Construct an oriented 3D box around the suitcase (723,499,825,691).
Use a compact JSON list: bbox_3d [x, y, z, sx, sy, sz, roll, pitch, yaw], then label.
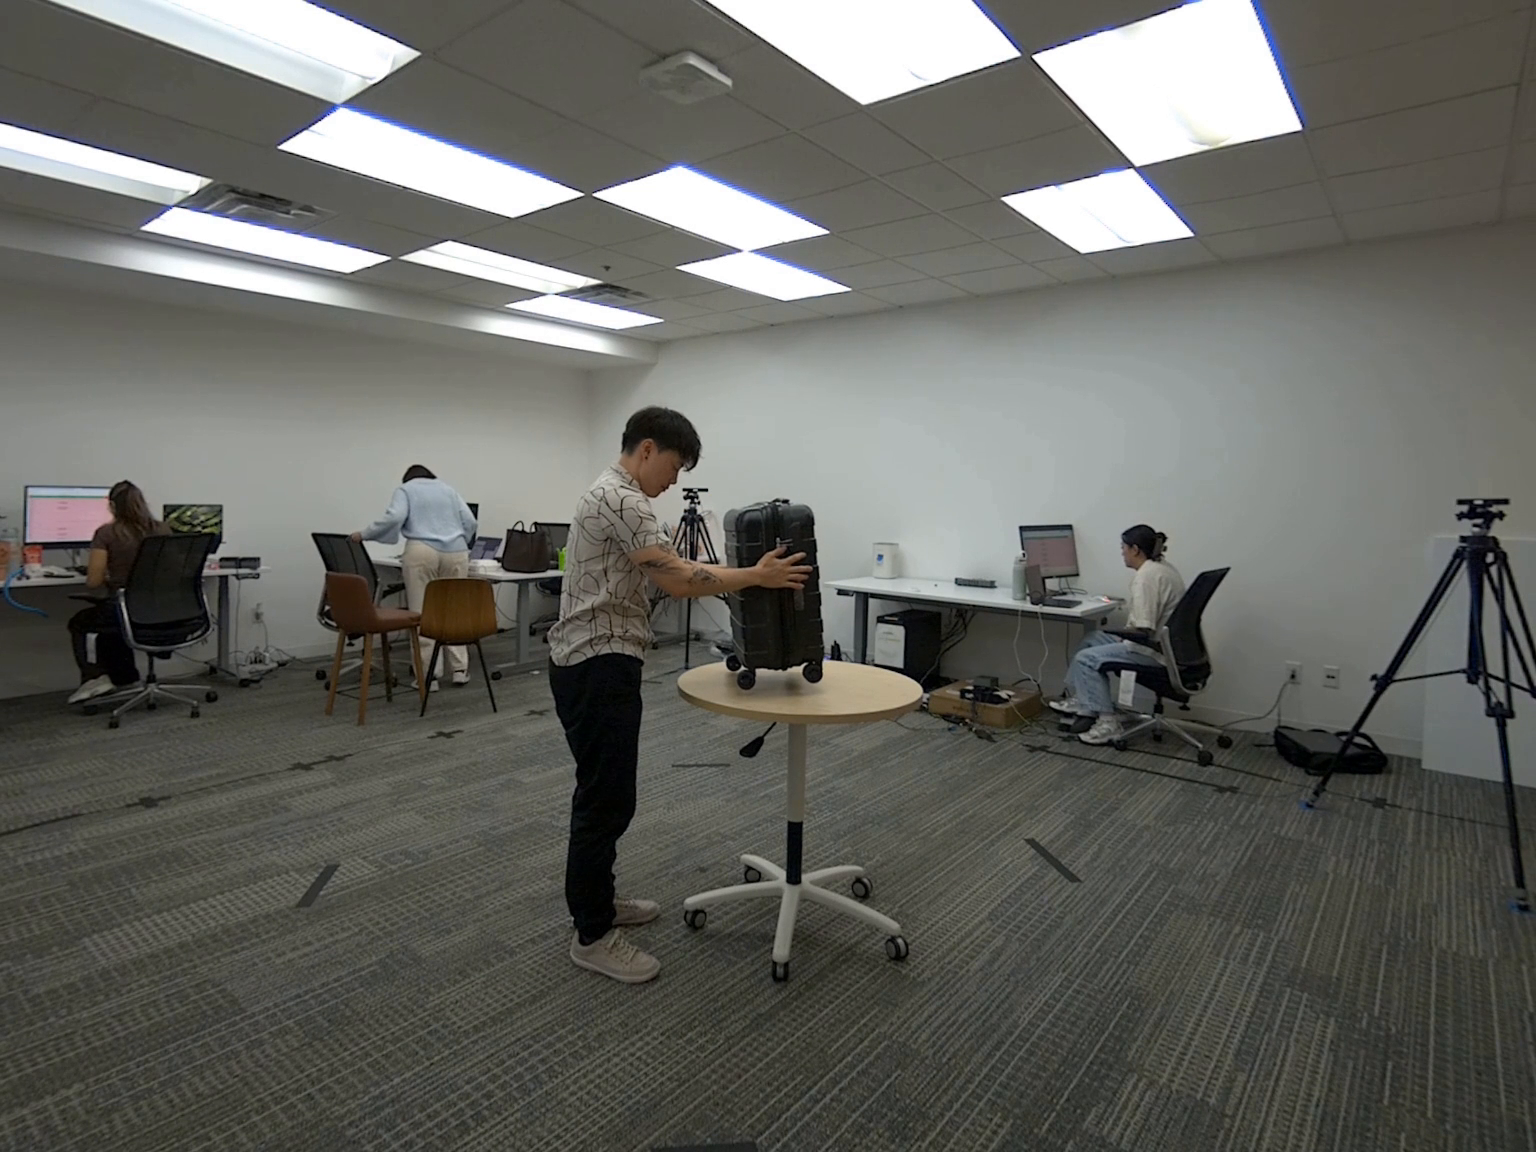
[{"bbox_3d":[-0.003,0.036,2.661,0.247,0.547,0.378,-3,4,-5],"label":"suitcase"}]
